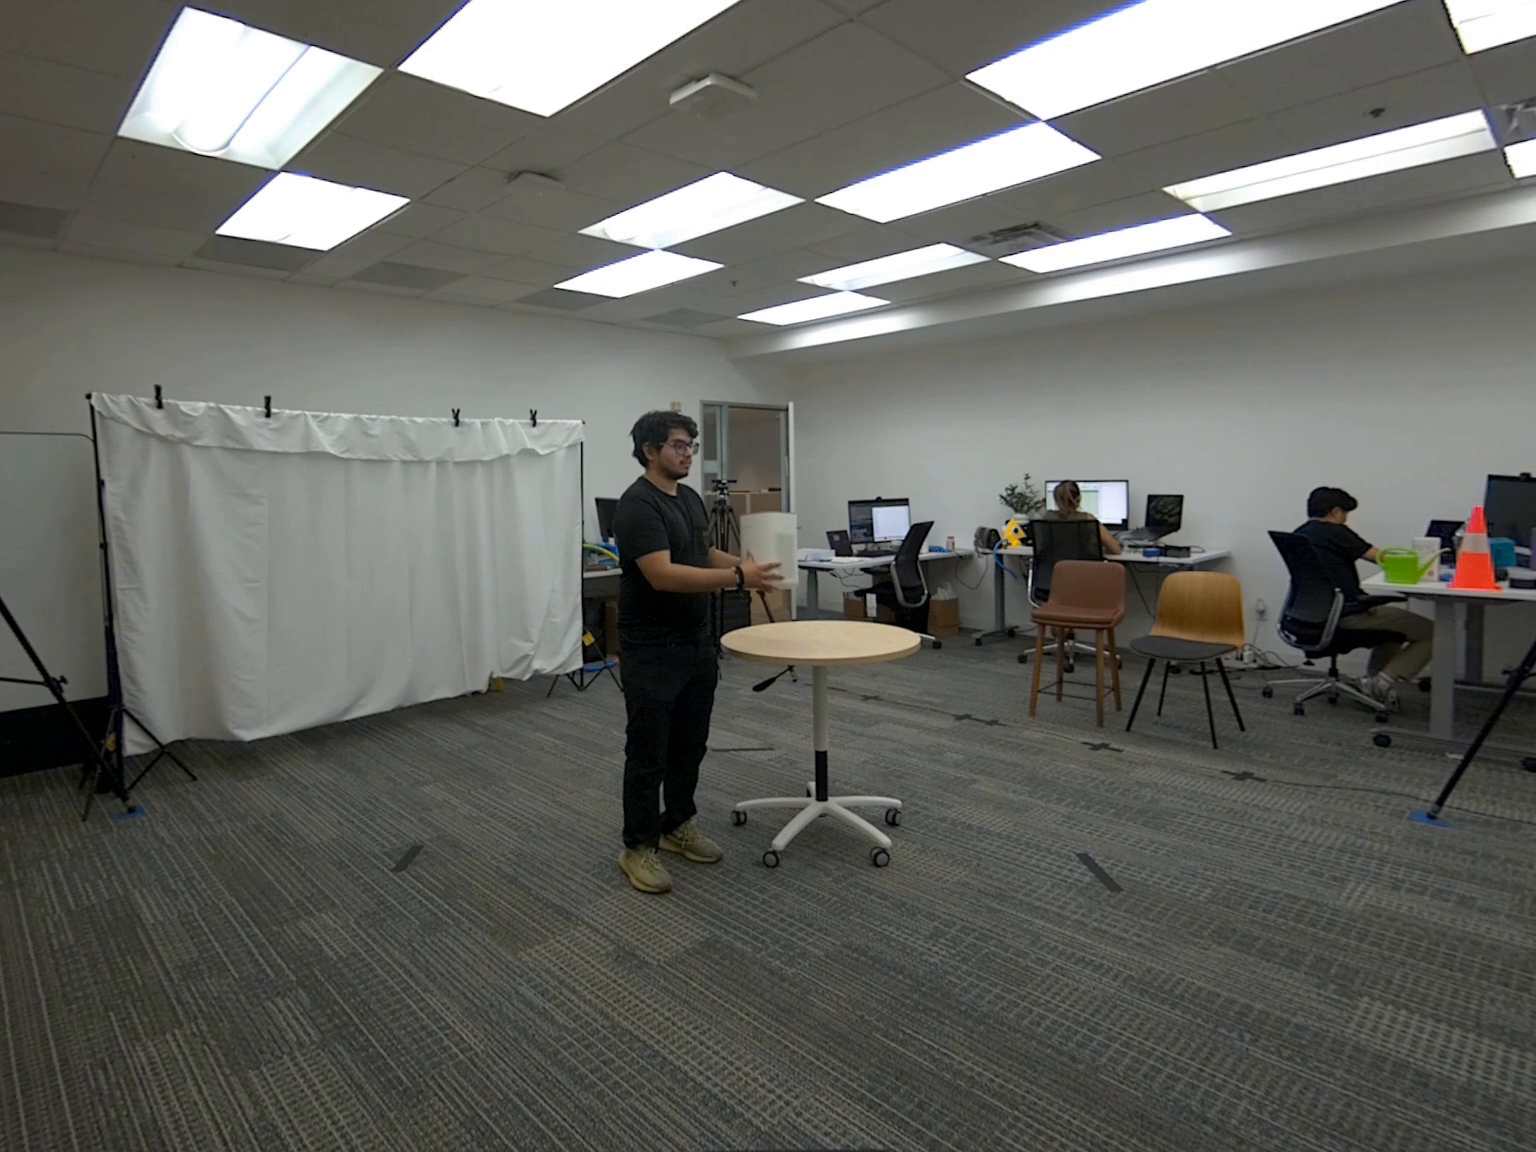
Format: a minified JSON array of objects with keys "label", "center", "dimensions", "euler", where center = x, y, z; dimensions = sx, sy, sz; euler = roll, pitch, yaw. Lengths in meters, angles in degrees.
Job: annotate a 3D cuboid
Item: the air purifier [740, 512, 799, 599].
[{"label":"air purifier","center":[-0.002,-0.084,3.004],"dimensions":[0.166,0.266,0.175],"euler":[1,-5,-44]}]
